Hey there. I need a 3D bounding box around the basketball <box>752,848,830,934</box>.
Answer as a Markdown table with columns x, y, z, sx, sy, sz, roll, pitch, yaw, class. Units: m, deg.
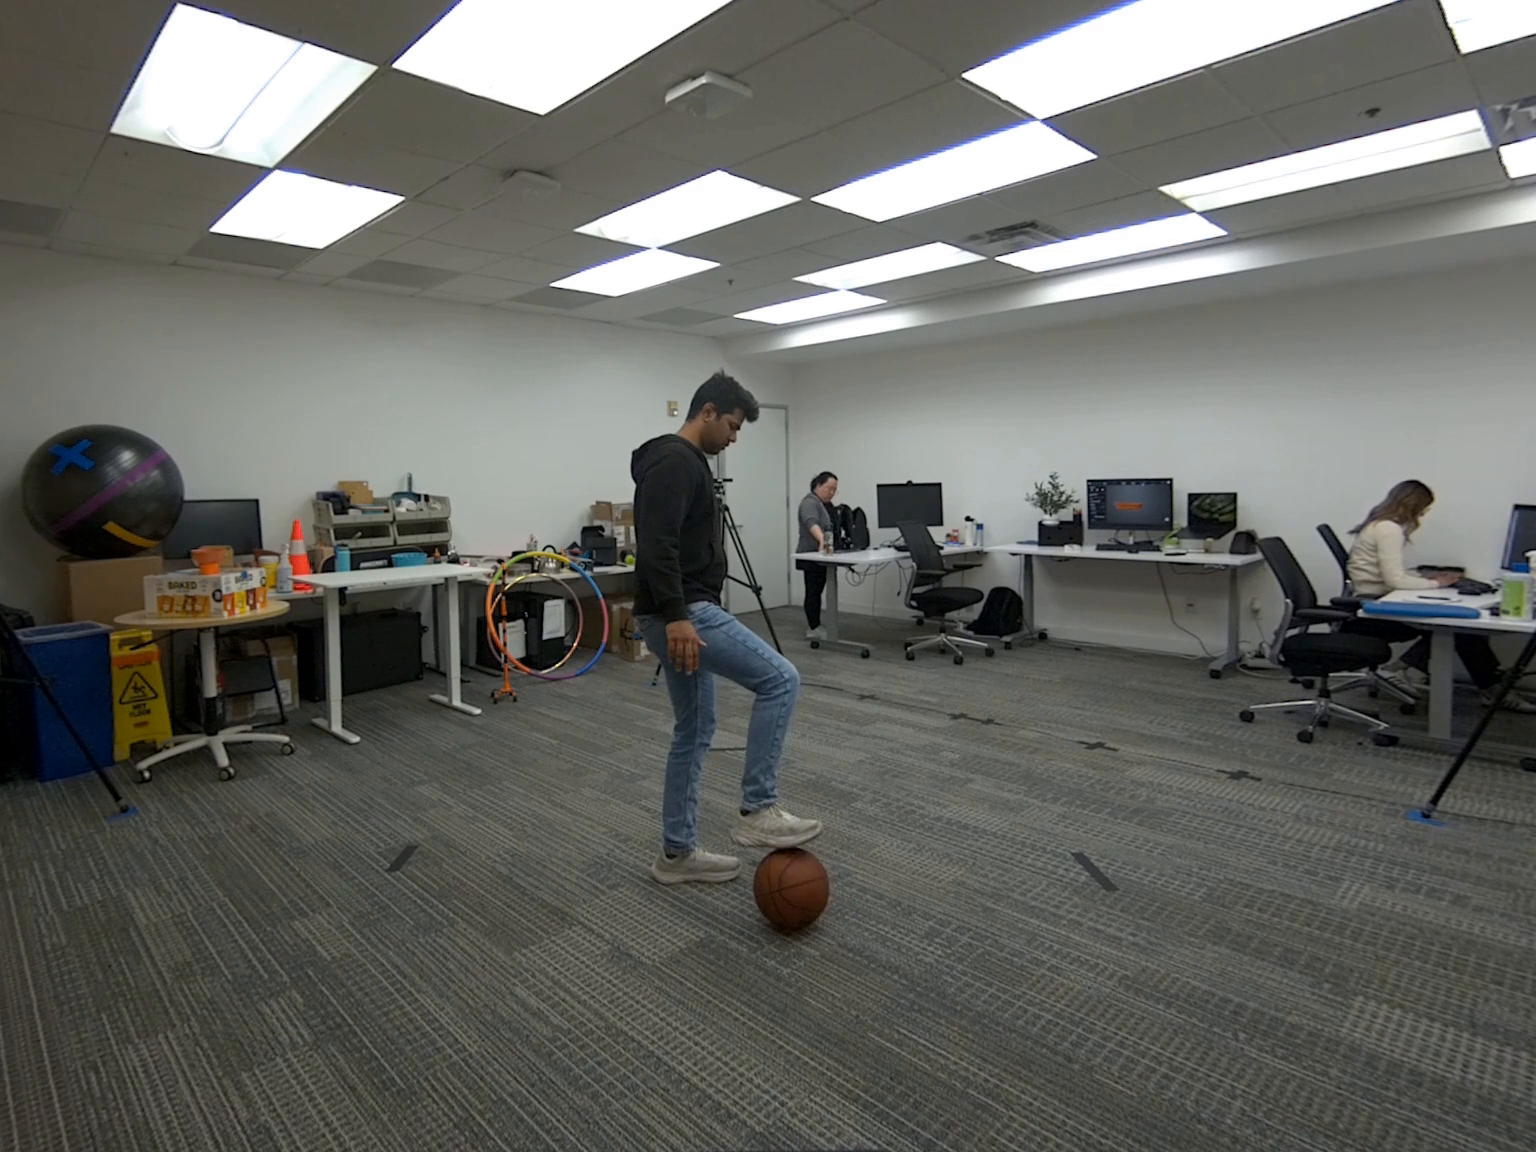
| x | y | z | sx | sy | sz | roll | pitch | yaw | class |
| --- | --- | --- | --- | --- | --- | --- | --- | --- | --- |
| 0.074 | 0.971 | 2.673 | 0.236 | 0.235 | 0.237 | -1 | 5 | -2 | basketball |
